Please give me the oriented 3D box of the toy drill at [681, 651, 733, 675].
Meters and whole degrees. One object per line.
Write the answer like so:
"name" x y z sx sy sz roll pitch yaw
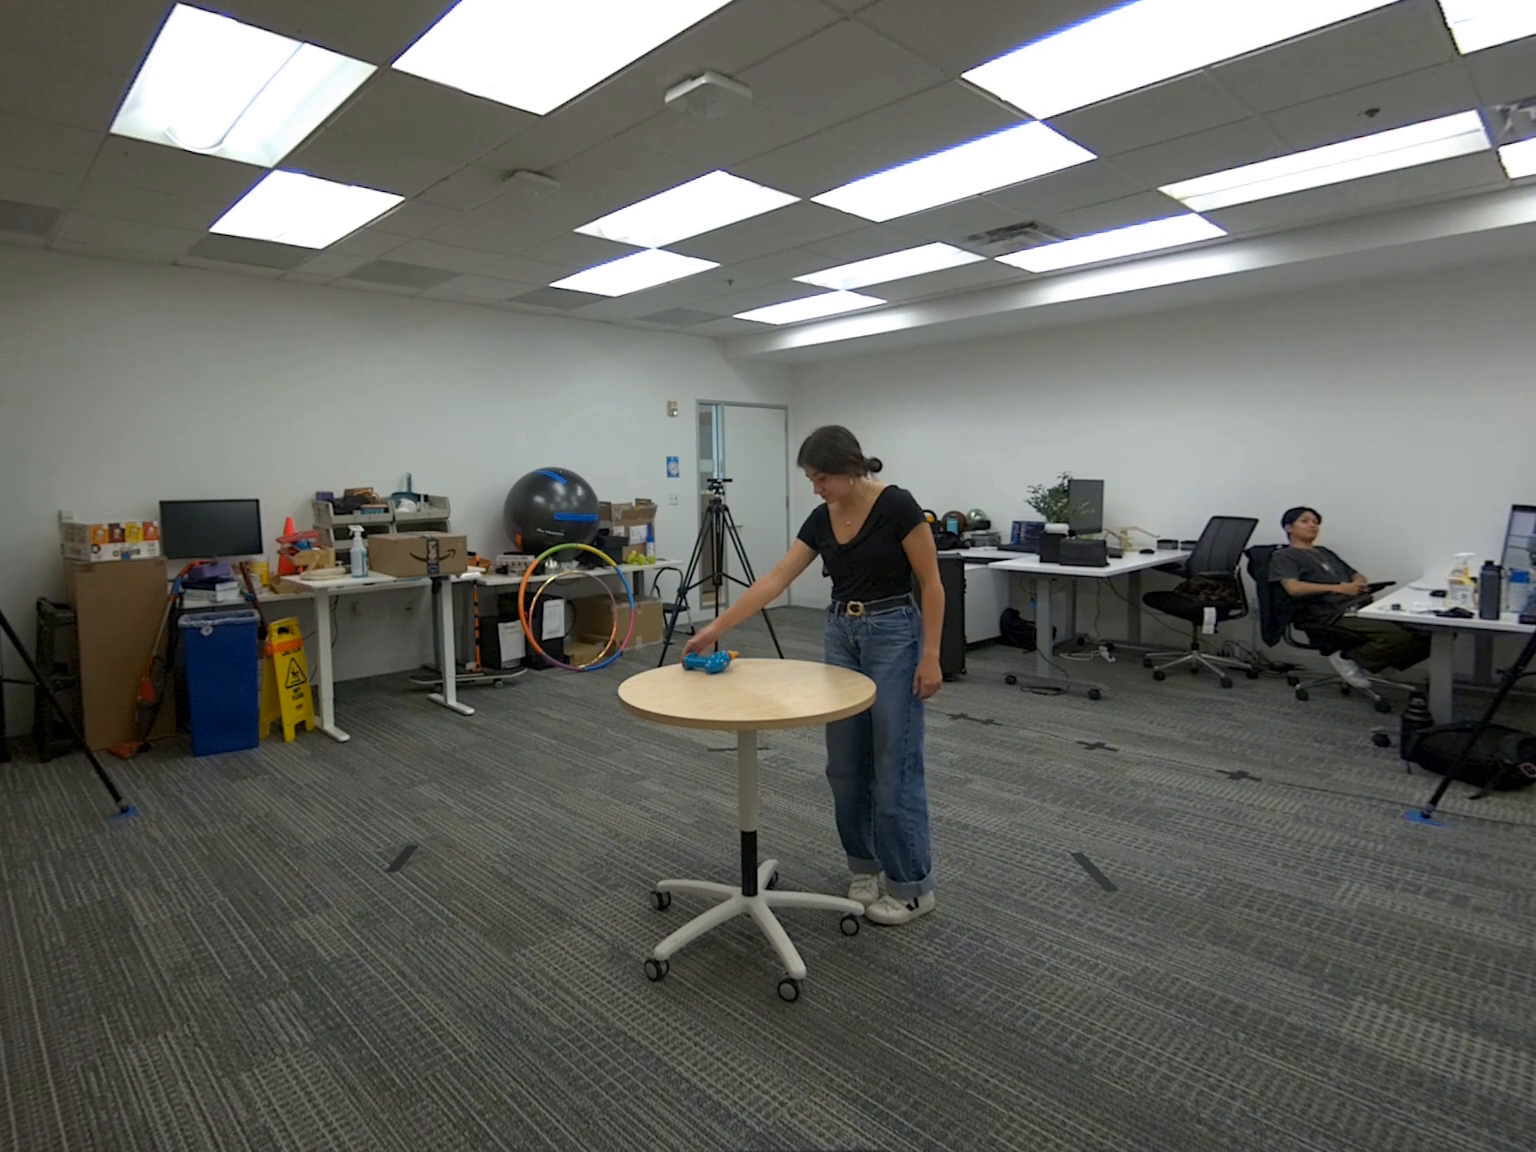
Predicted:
"toy drill" -0.170 0.272 2.782 0.150 0.060 0.167 1 14 36
